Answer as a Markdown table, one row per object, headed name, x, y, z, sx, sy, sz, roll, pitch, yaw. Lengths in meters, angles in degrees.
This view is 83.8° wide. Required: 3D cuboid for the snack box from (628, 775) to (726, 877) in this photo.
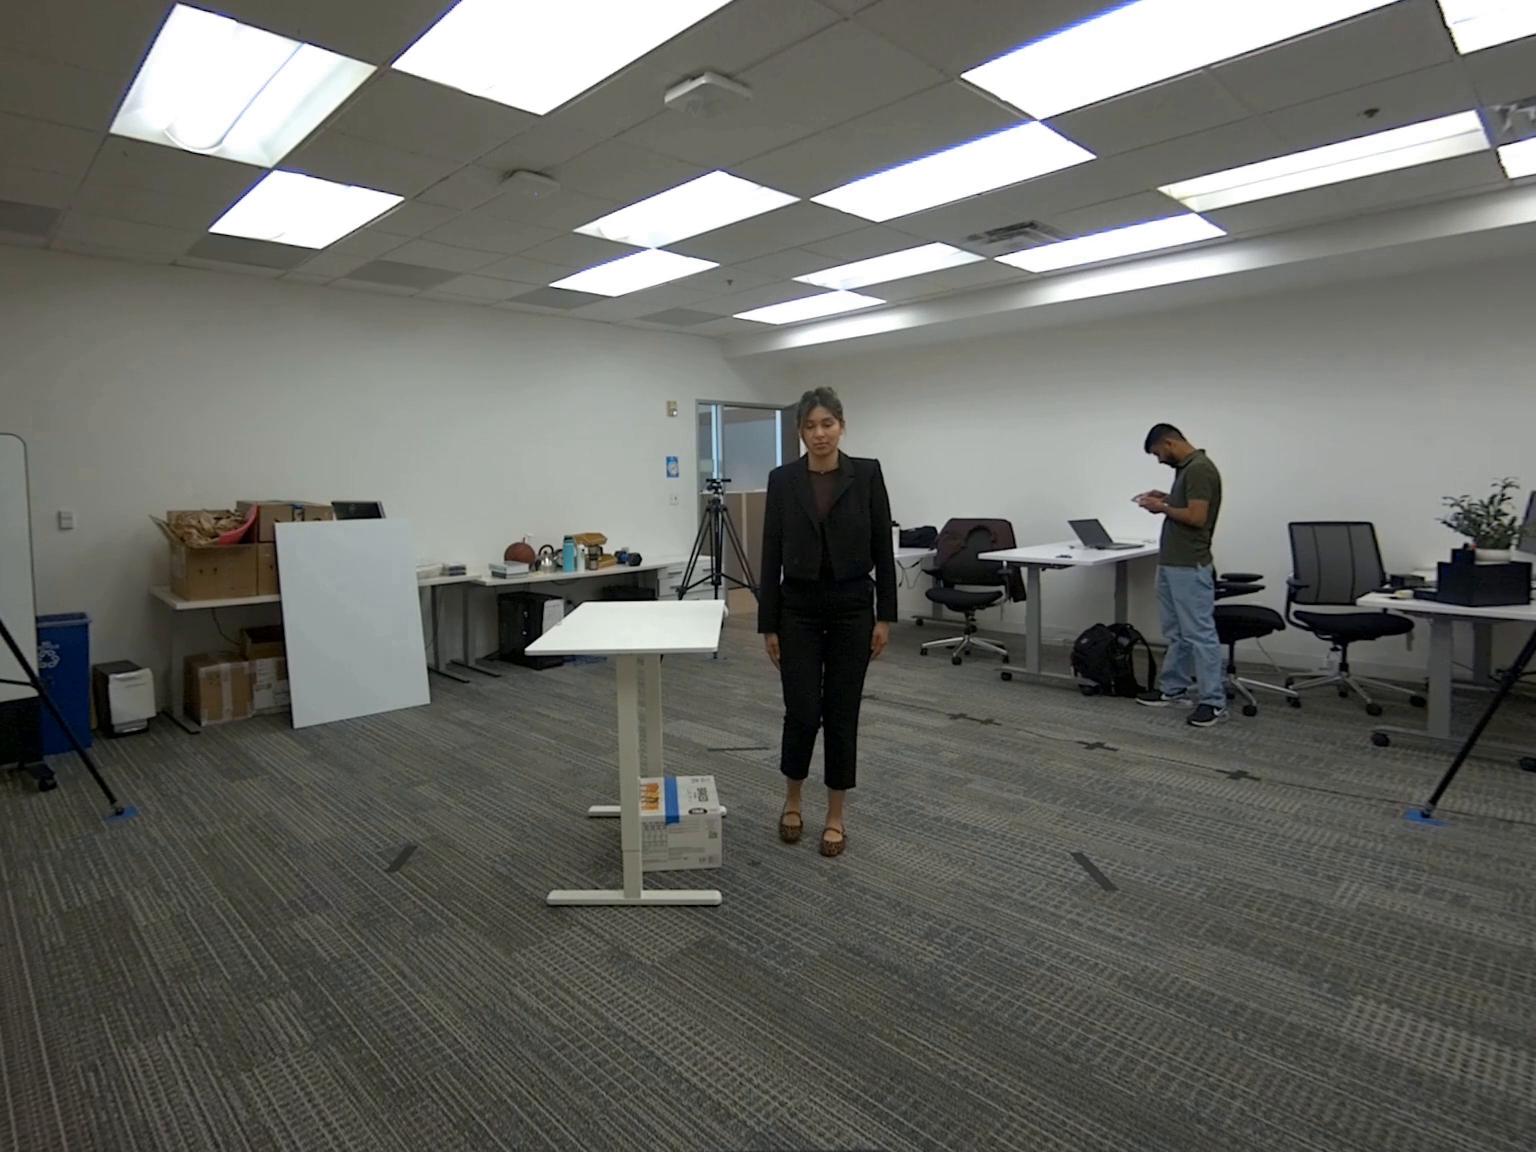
| name | x | y | z | sx | sy | sz | roll | pitch | yaw |
| --- | --- | --- | --- | --- | --- | --- | --- | --- | --- |
| snack box | -0.355 | 0.934 | 3.246 | 0.338 | 0.205 | 0.409 | -2 | 6 | -7 |
